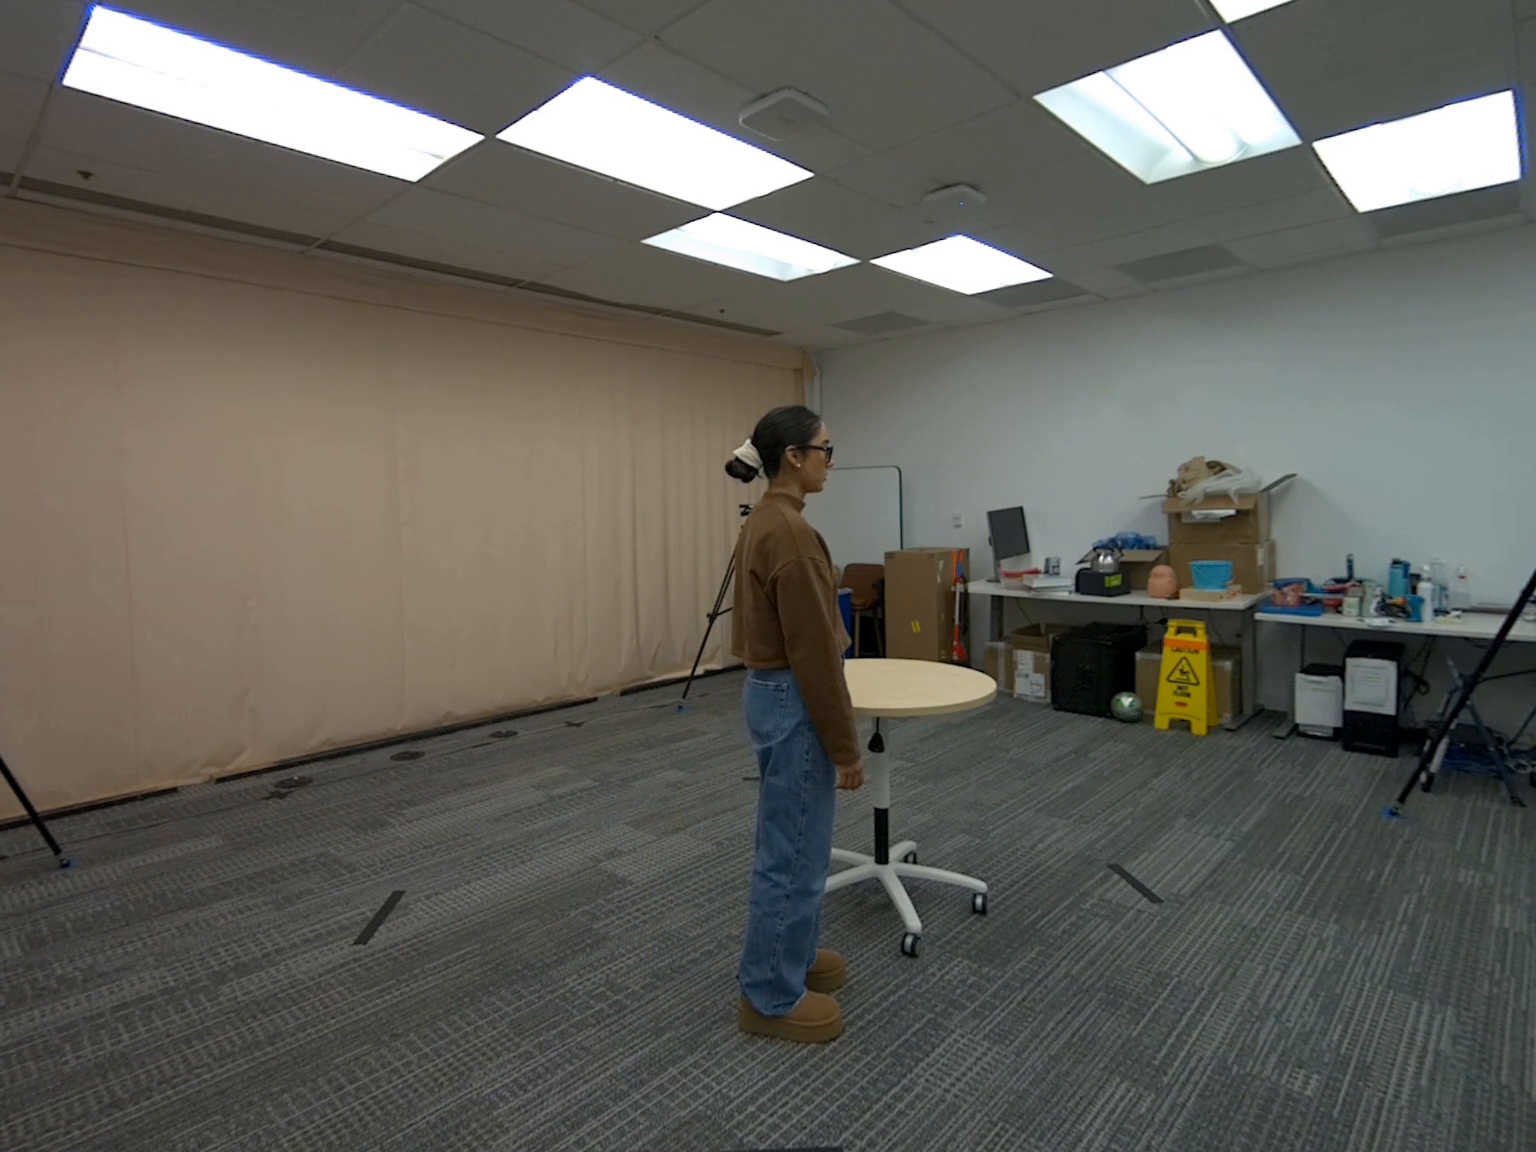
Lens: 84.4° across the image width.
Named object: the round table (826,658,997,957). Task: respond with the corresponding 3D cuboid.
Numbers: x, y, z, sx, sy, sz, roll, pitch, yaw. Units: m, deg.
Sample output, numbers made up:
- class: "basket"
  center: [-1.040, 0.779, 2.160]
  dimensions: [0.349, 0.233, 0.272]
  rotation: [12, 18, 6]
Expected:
- class: "round table"
  center: [0.401, 0.752, 2.907]
  dimensions: [0.763, 0.792, 0.767]
  rotation: [-1, 4, -2]
